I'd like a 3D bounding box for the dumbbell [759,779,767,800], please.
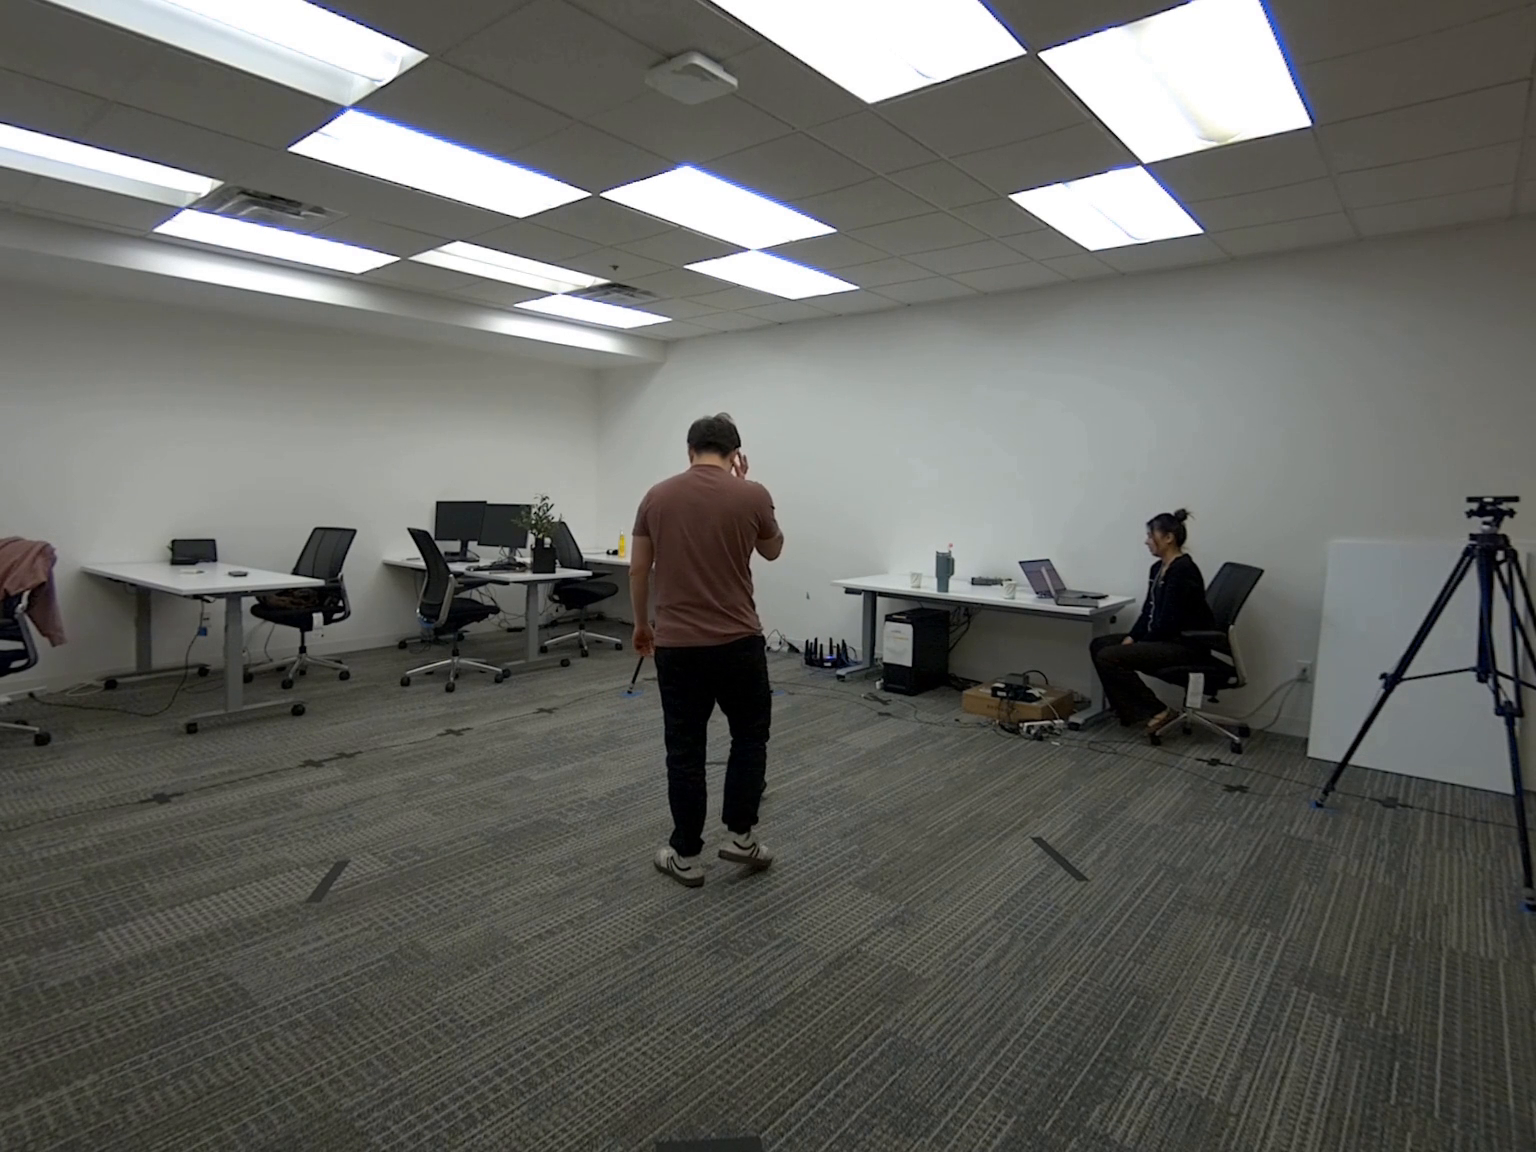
[{"bbox_3d":[-0.102,0.946,3.728,0.110,0.122,0.290,31,11,8],"label":"dumbbell"}]
